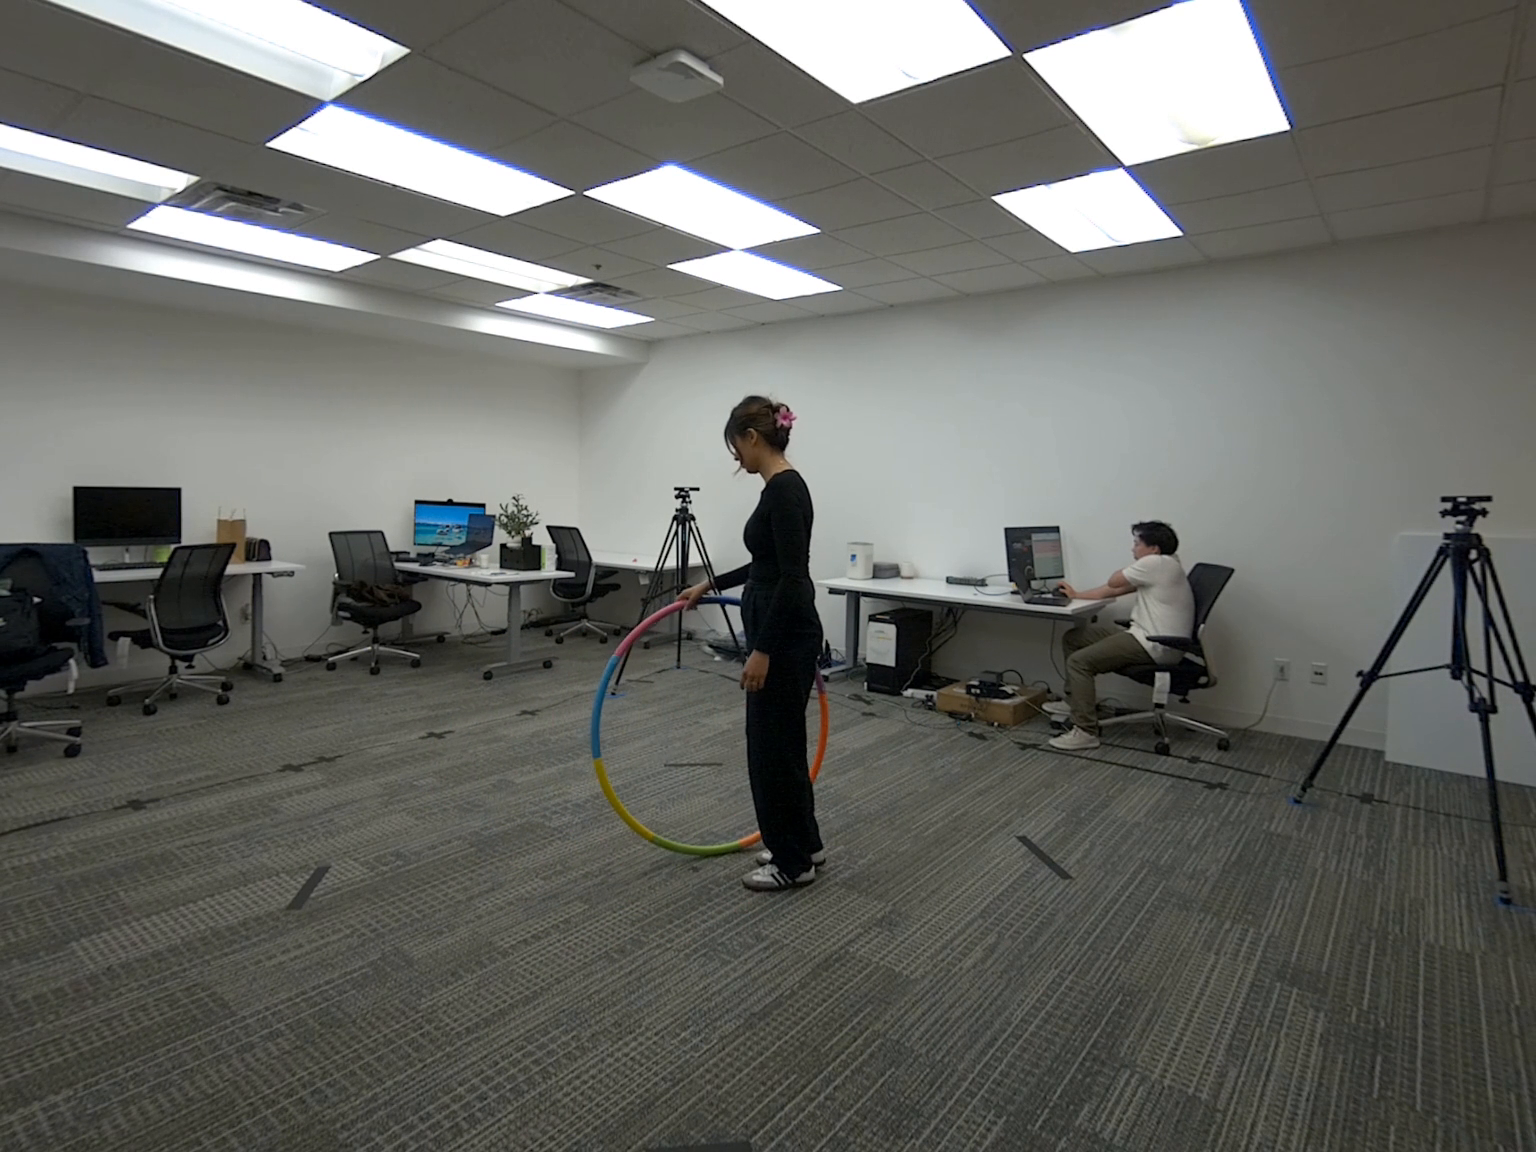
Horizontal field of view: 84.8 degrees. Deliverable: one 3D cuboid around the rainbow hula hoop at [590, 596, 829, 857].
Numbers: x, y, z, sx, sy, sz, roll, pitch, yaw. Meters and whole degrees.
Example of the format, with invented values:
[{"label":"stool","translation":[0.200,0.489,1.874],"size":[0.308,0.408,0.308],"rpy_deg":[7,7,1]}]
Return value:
[{"label":"rainbow hula hoop","translation":[-0.210,0.566,3.263],"size":[0.956,0.983,0.036],"rpy_deg":[-1,-5,-24]}]
